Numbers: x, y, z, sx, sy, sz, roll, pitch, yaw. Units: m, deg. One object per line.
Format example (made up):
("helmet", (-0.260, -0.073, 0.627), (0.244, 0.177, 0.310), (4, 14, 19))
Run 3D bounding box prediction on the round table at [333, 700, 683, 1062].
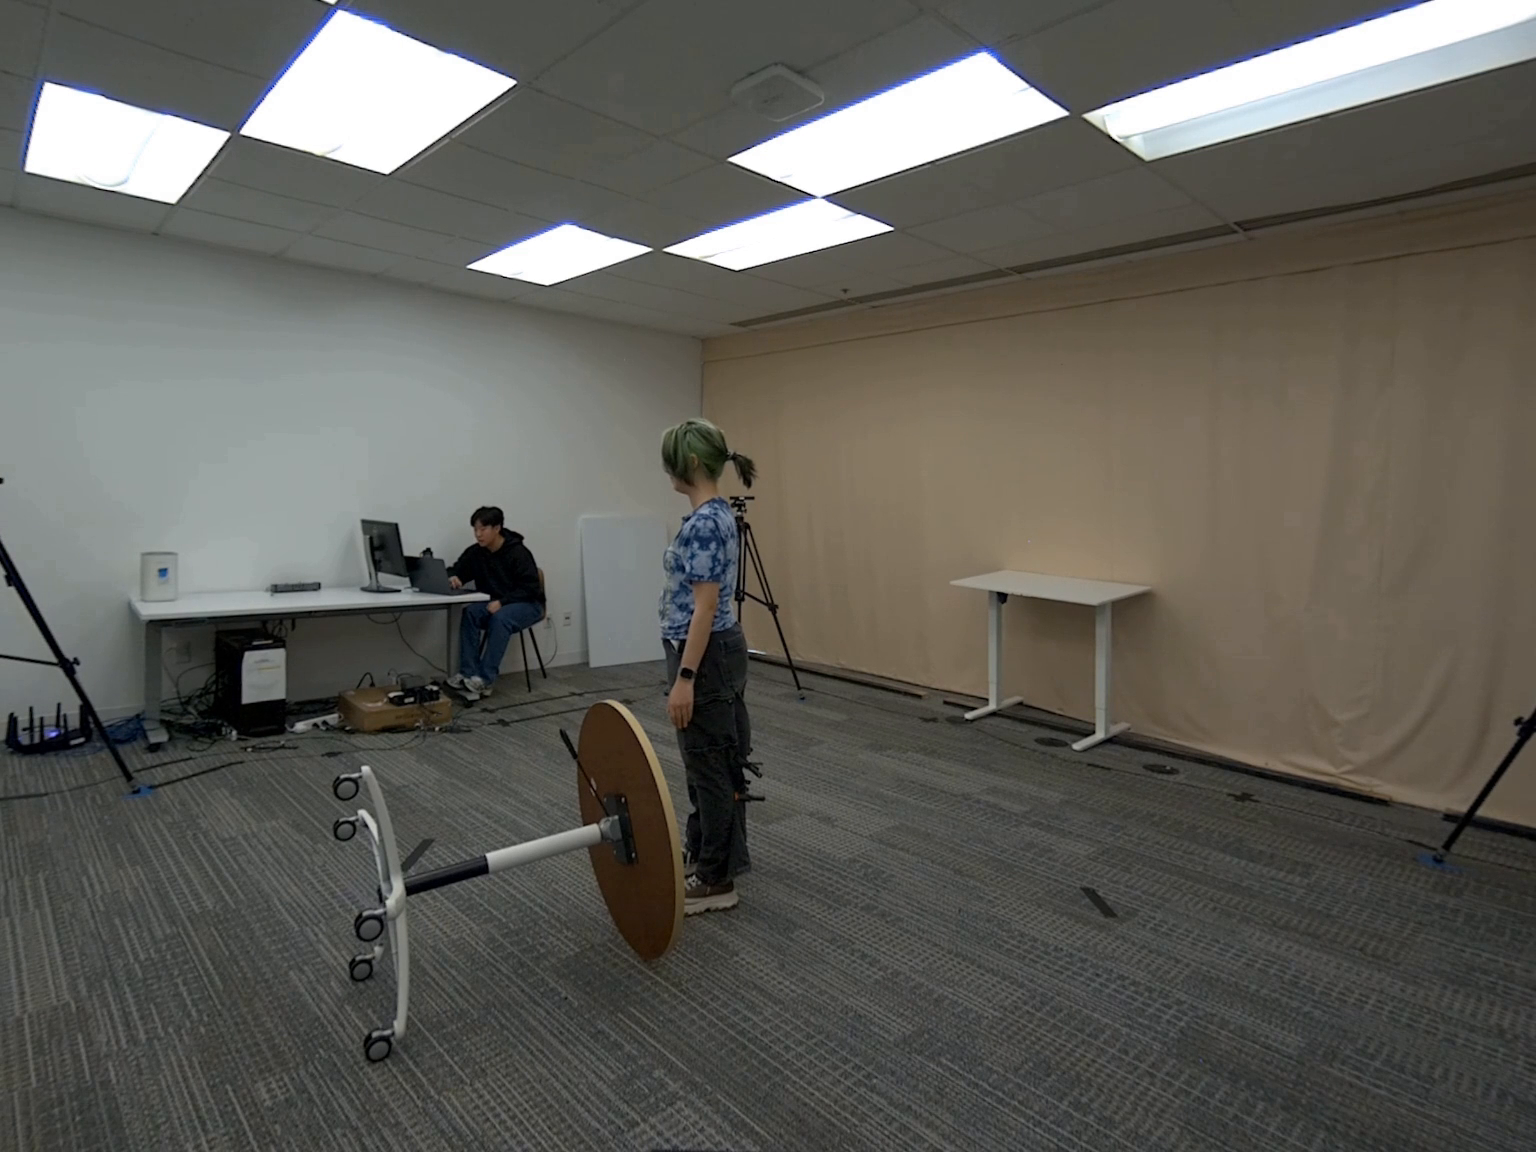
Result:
("round table", (-0.776, 0.817, 2.385), (0.780, 0.760, 0.782), (-8, 9, -30))
